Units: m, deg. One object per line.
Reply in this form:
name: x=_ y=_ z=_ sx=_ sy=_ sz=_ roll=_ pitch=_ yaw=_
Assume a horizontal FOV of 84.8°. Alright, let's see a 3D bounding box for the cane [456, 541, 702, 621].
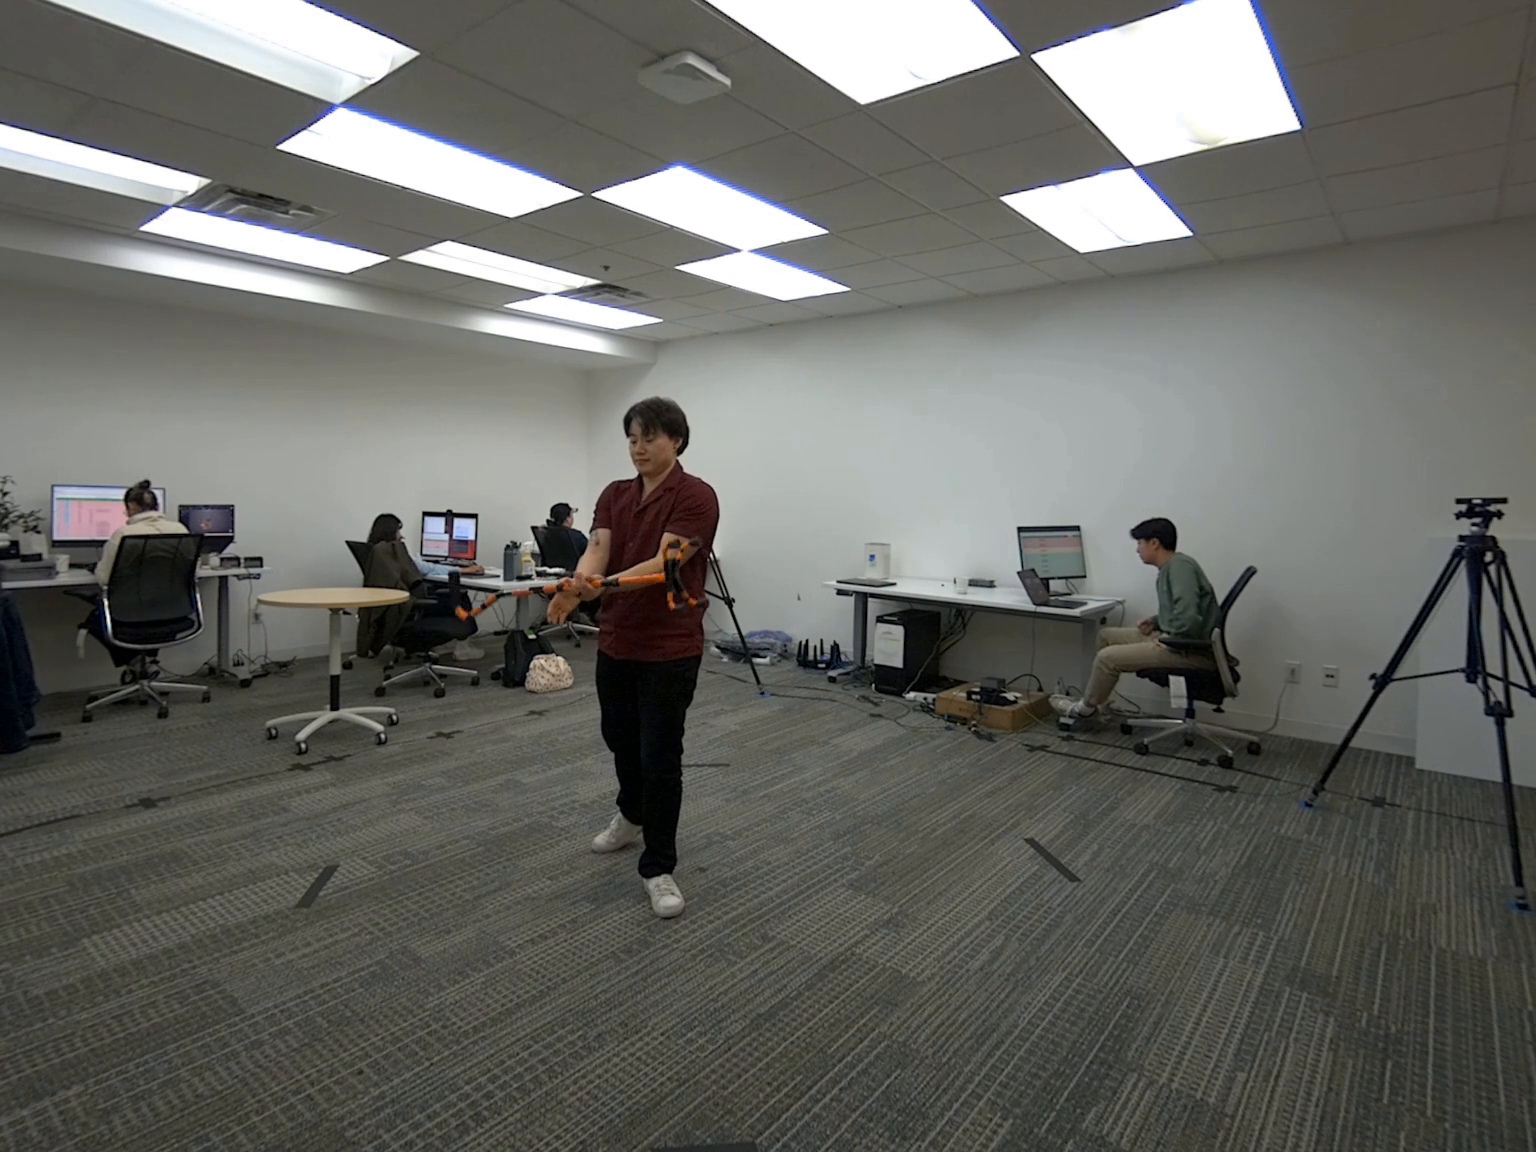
cane: x=-0.631 y=0.027 z=2.580 sx=0.929 sy=0.207 sz=0.148 roll=-5 pitch=-2 yaw=27
